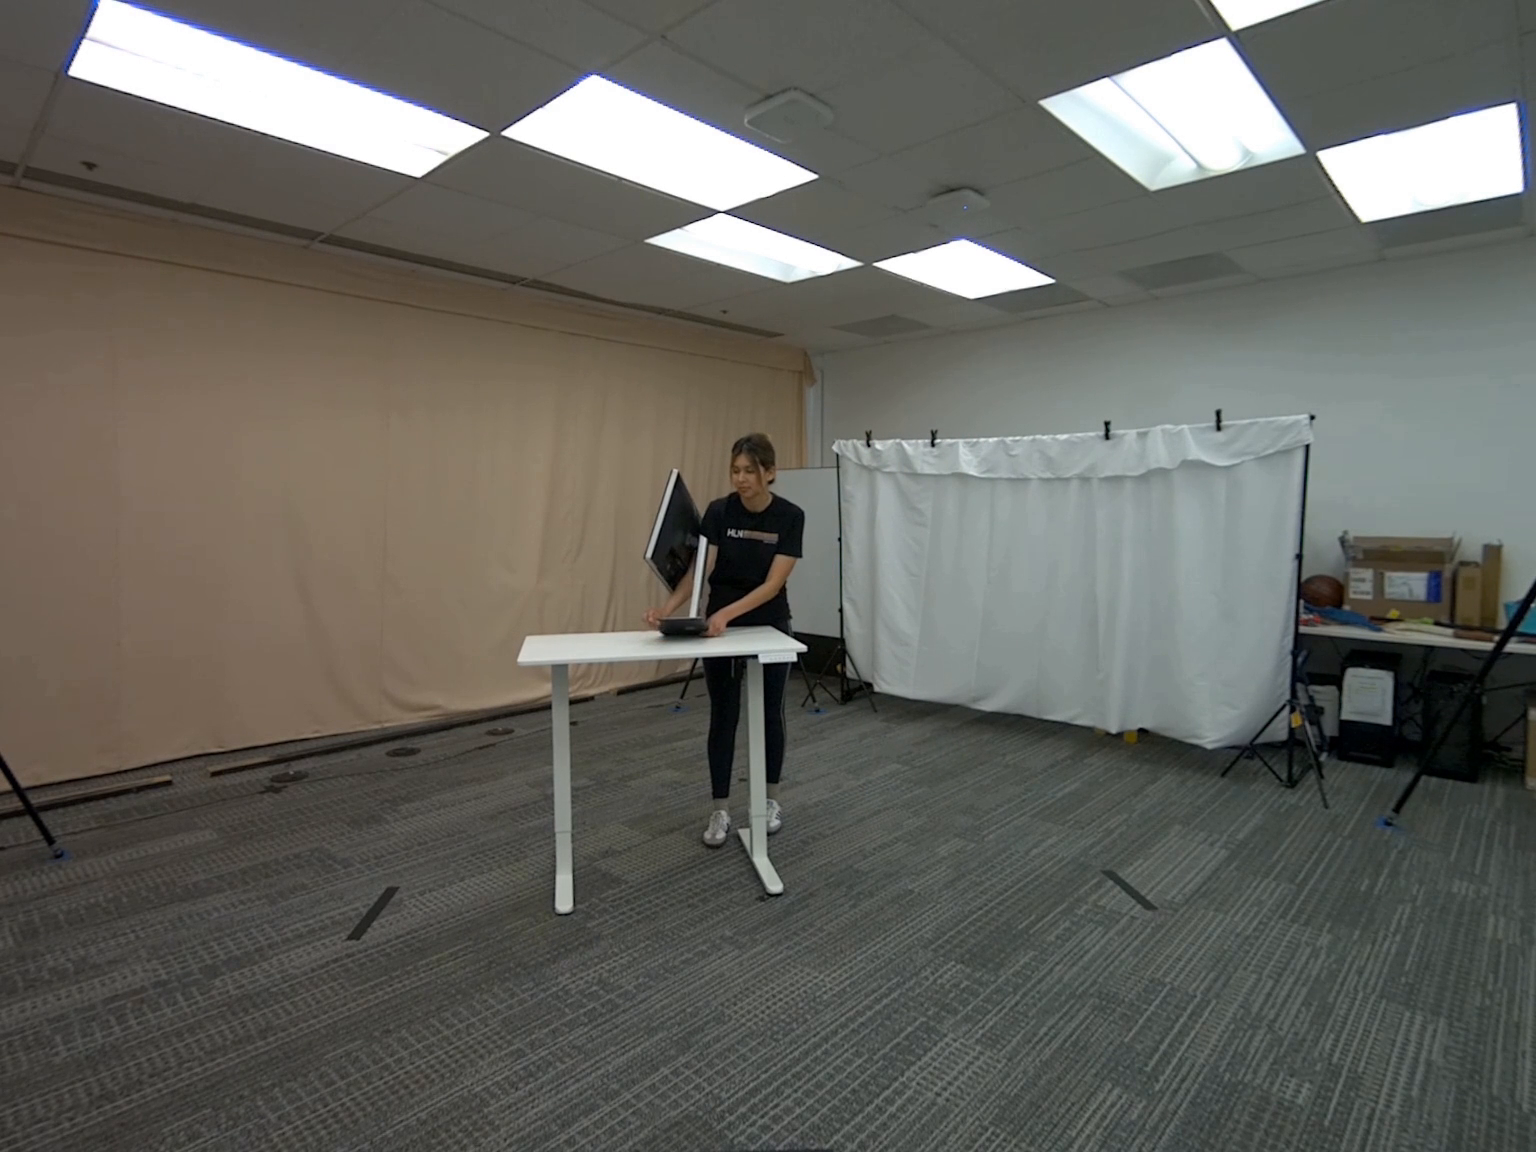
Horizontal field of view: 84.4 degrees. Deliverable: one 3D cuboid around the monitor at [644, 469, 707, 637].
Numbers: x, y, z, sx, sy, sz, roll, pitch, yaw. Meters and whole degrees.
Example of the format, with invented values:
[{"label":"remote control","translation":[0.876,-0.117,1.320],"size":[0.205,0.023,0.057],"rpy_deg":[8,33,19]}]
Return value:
[{"label":"monitor","translation":[-0.331,-0.050,3.293],"size":[0.189,0.528,0.529],"rpy_deg":[1,-20,6]}]
